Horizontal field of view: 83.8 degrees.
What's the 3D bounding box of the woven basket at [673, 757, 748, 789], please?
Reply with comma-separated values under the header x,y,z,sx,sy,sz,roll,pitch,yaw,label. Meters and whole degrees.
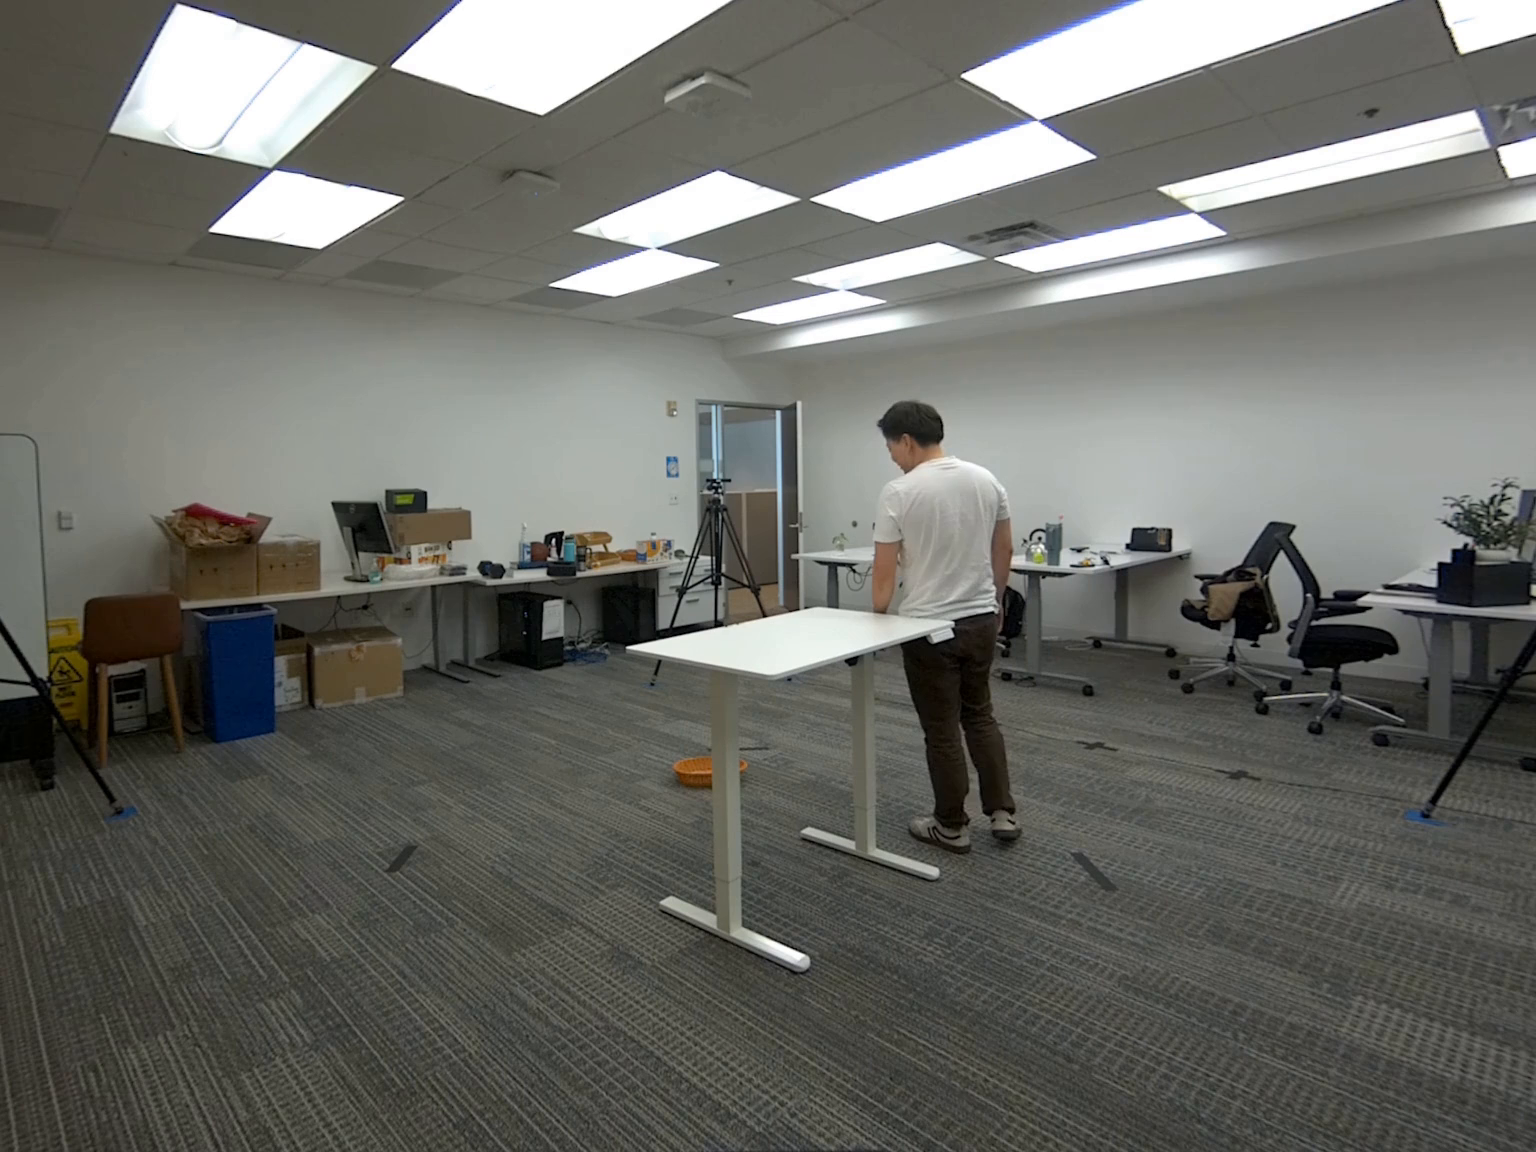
x,y,z,sx,sy,sz,roll,pitch,yaw,label
-0.271,0.913,3.985,0.351,0.073,0.253,-1,5,1,woven basket
